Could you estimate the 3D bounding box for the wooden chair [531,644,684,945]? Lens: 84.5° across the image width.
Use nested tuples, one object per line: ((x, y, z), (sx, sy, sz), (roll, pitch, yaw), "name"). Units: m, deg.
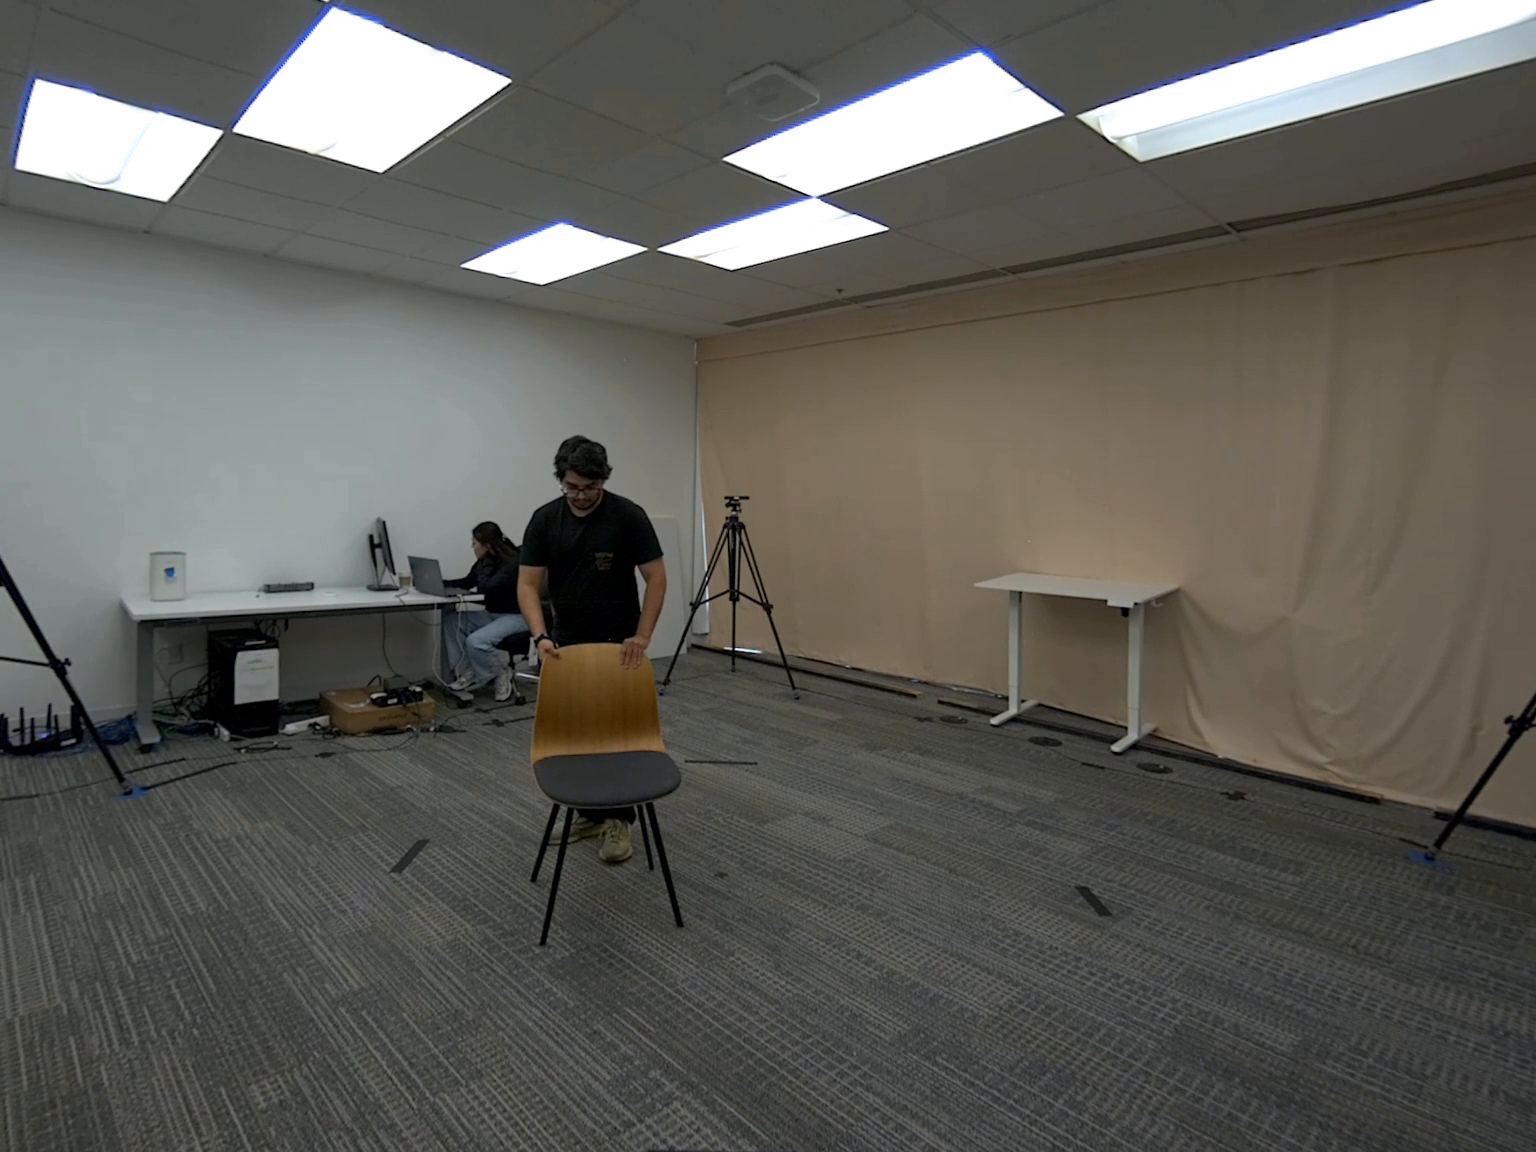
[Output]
((-0.548, 0.697, 2.823), (0.471, 0.878, 0.530), (1, -1, -19), "wooden chair")
